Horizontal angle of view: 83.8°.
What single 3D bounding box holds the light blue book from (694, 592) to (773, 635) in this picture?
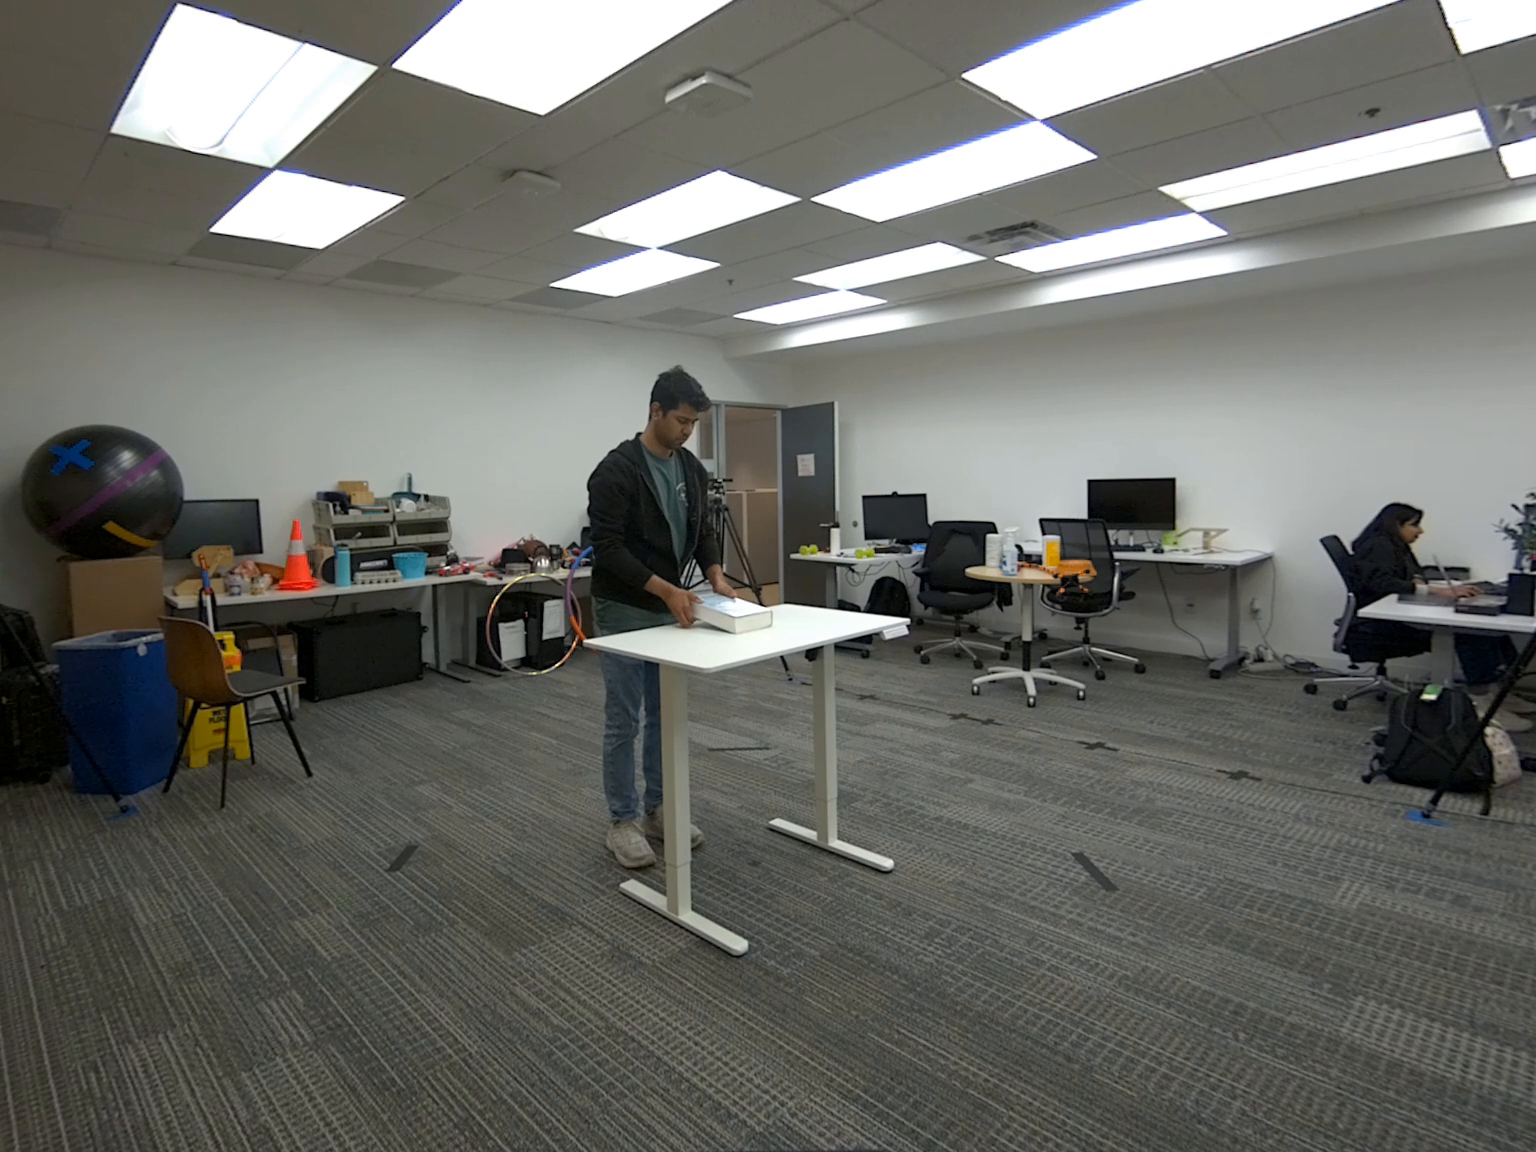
[{"bbox_3d":[-0.136,0.129,2.988,0.186,0.058,0.270,-7,13,-41],"label":"light blue book"}]
